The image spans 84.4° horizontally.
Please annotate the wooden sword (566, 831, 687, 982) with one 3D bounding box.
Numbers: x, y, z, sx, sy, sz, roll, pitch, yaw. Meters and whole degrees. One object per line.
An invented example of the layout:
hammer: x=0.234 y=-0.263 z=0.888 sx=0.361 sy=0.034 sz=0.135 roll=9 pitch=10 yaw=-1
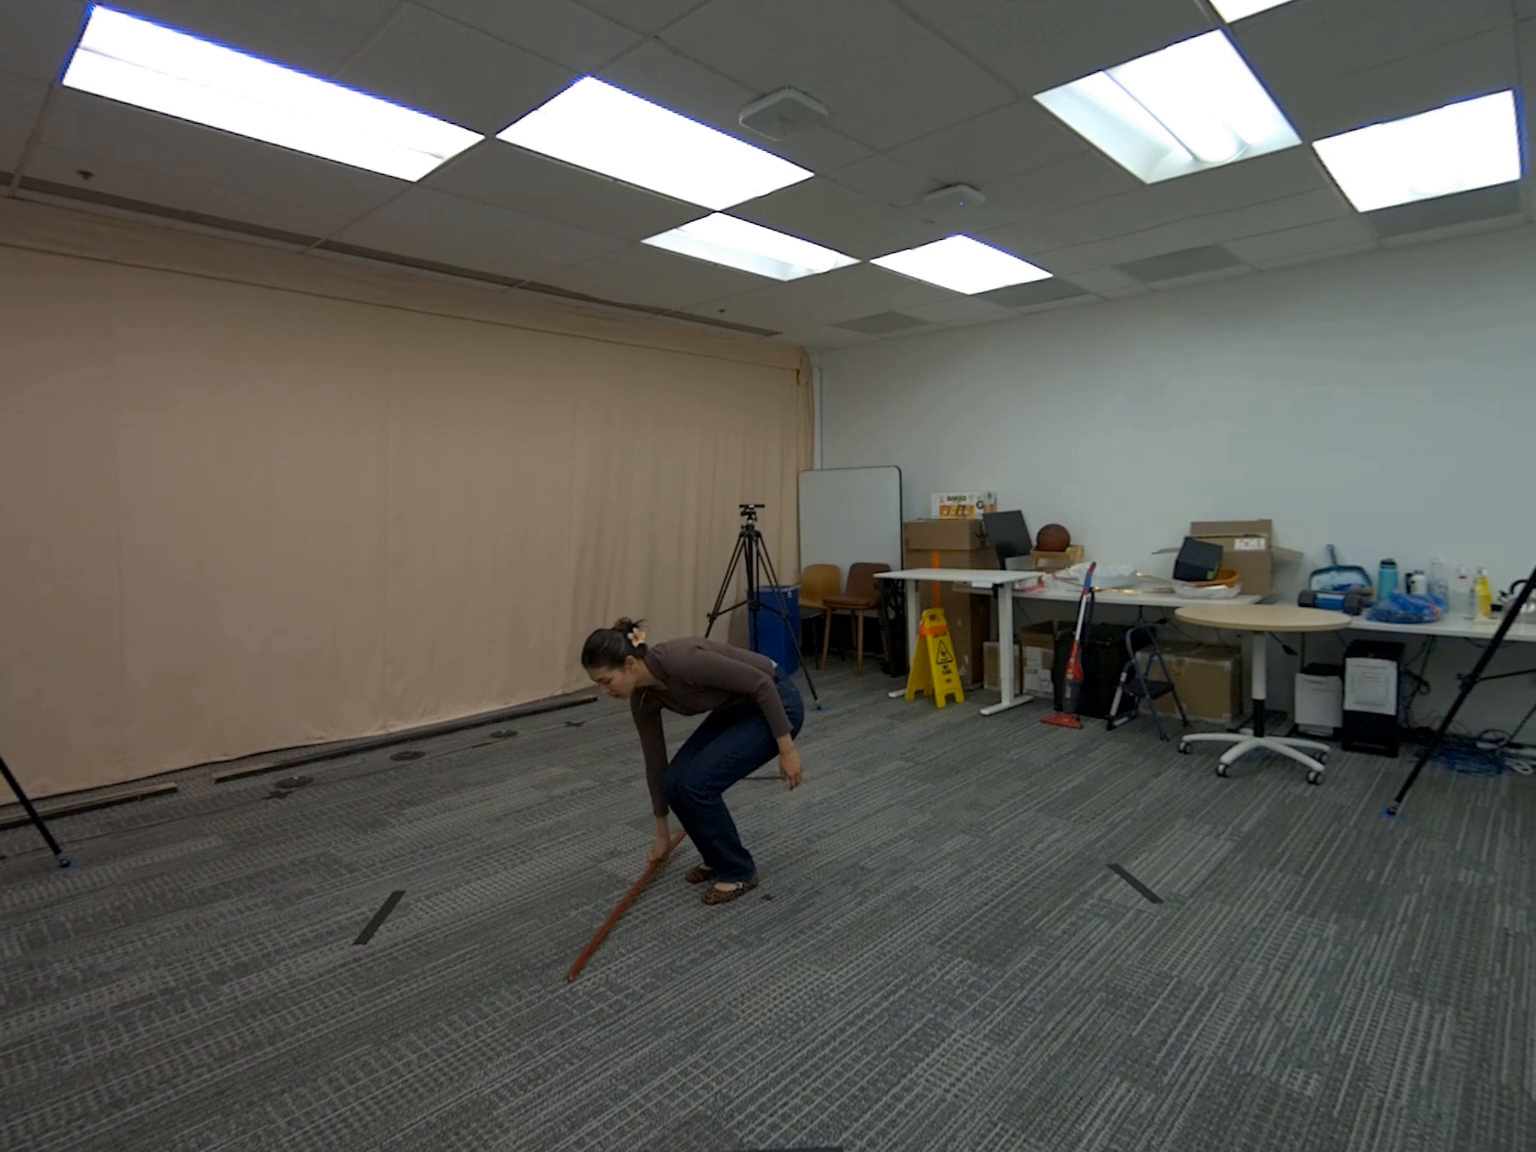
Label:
wooden sword: x=-0.464 y=1.106 z=2.970 sx=0.024 sy=0.051 sz=1.013 roll=-7 pitch=7 yaw=14
